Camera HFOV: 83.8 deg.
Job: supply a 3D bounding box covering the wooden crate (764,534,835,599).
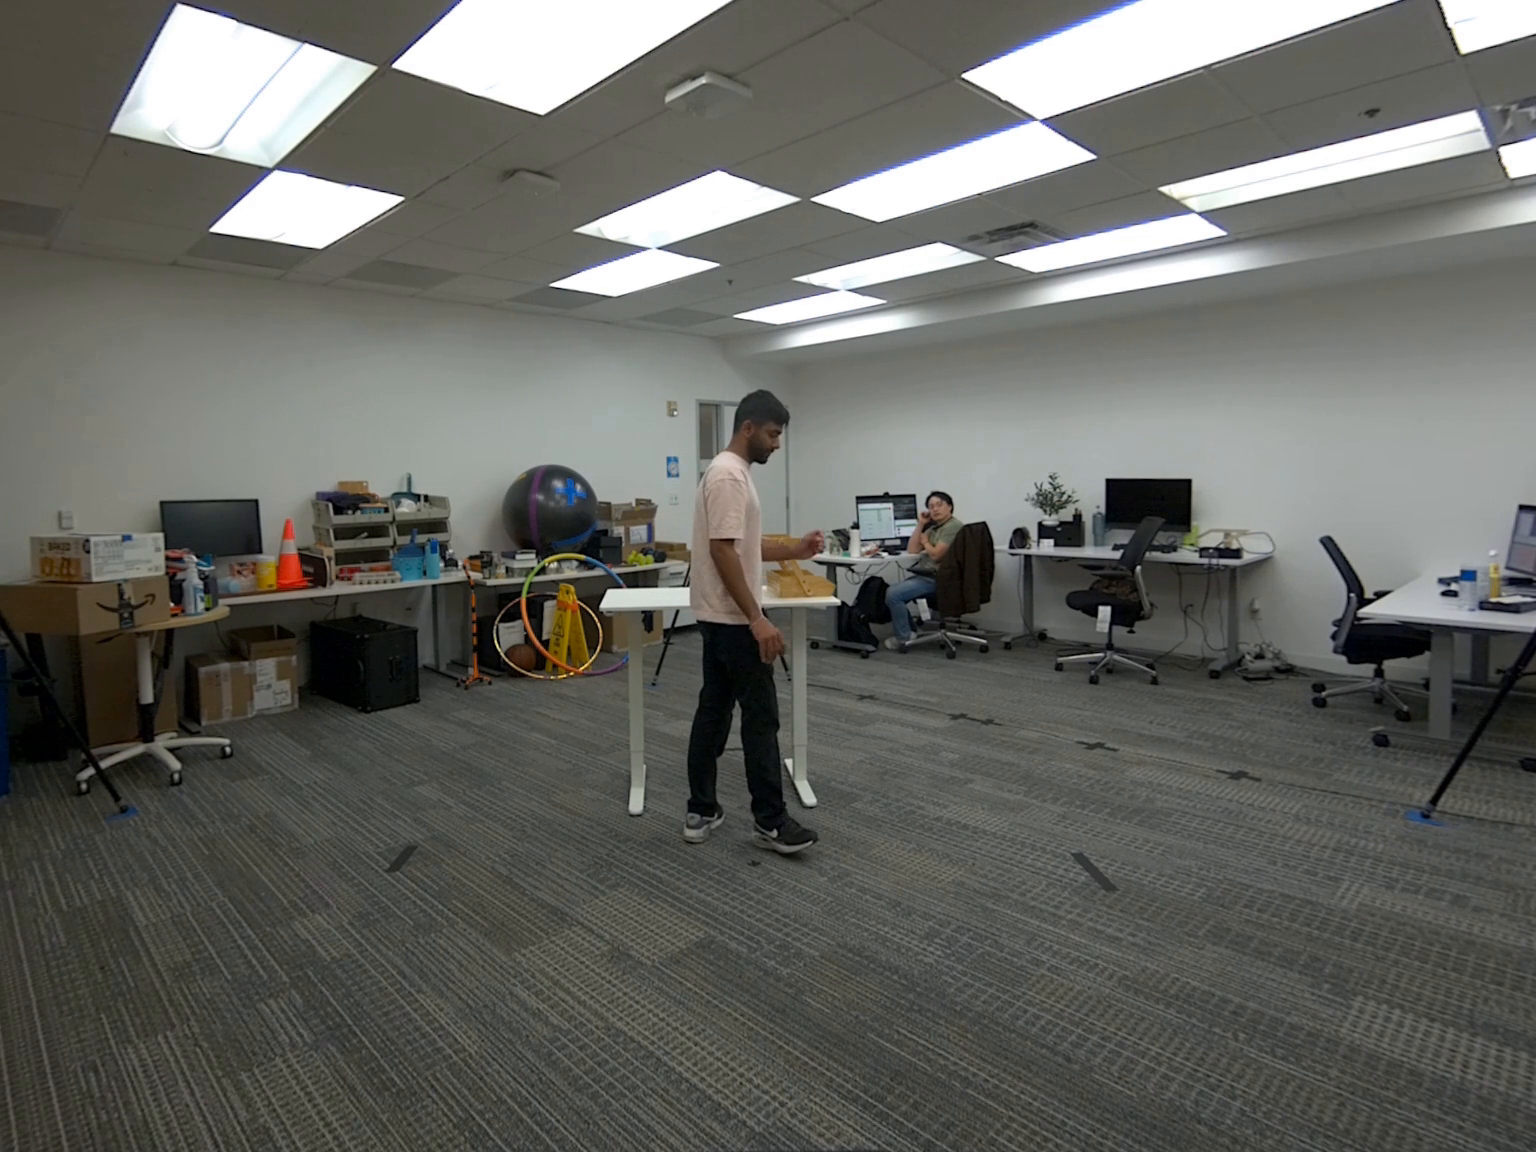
[{"bbox_3d":[0.129,-0.050,3.861,0.300,0.272,0.328,-1,4,-8],"label":"wooden crate"}]
